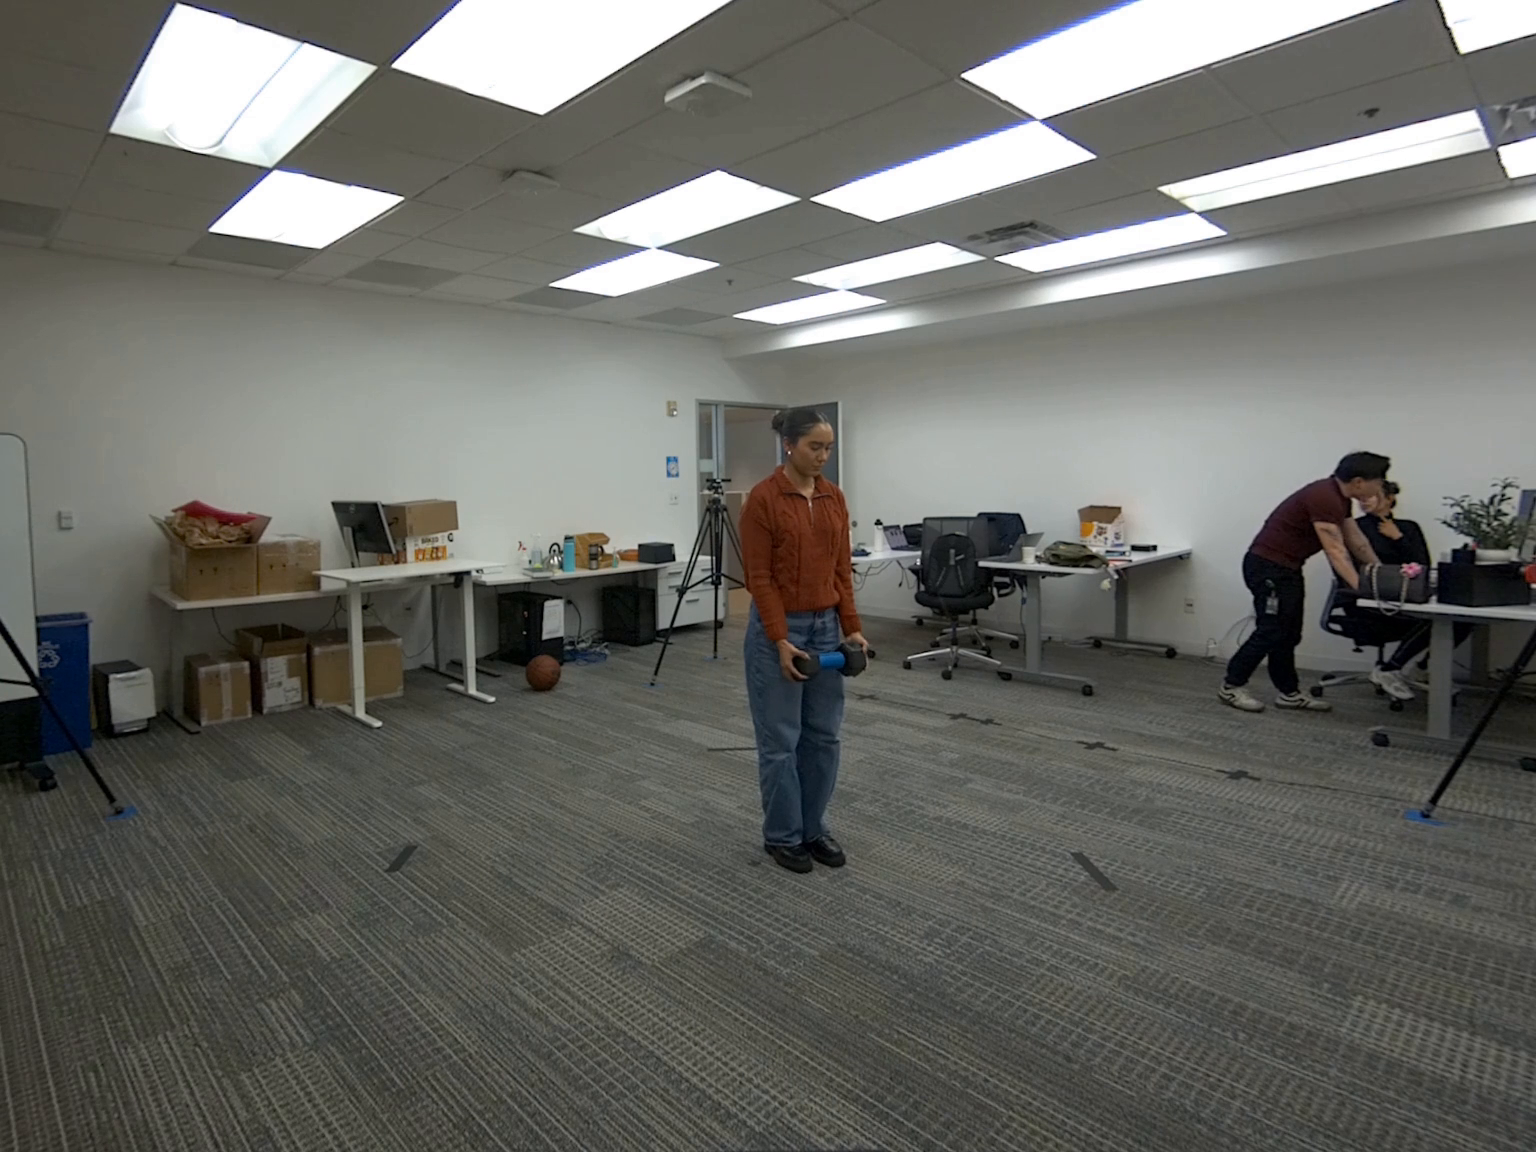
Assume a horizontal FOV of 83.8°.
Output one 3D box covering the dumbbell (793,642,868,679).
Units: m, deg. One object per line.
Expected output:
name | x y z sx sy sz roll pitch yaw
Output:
dumbbell | 0.198 0.297 3.019 0.287 0.123 0.111 -4 -3 -29
